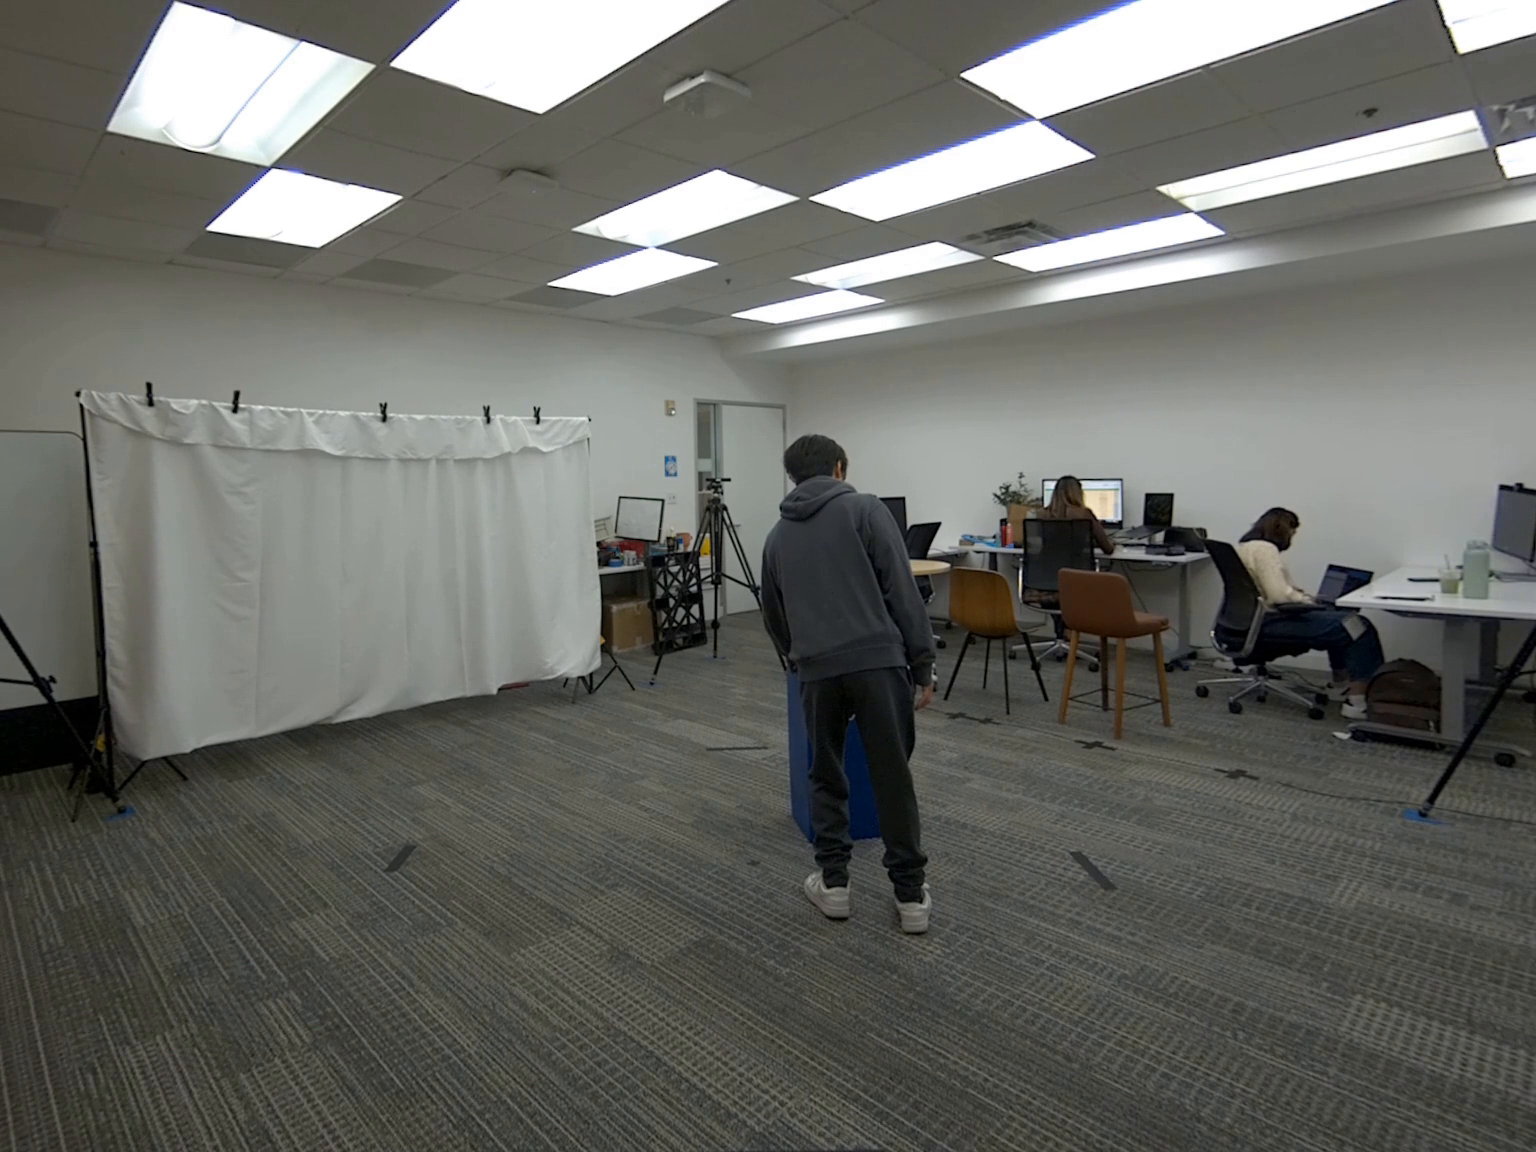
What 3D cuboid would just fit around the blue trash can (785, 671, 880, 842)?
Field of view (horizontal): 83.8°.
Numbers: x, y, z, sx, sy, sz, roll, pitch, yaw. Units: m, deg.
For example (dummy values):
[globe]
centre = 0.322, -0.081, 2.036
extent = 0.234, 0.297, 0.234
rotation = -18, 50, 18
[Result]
[blue trash can]
centre = 0.280, 0.649, 3.414
extent = 0.370, 0.711, 0.383
rotation = -2, 4, -11
